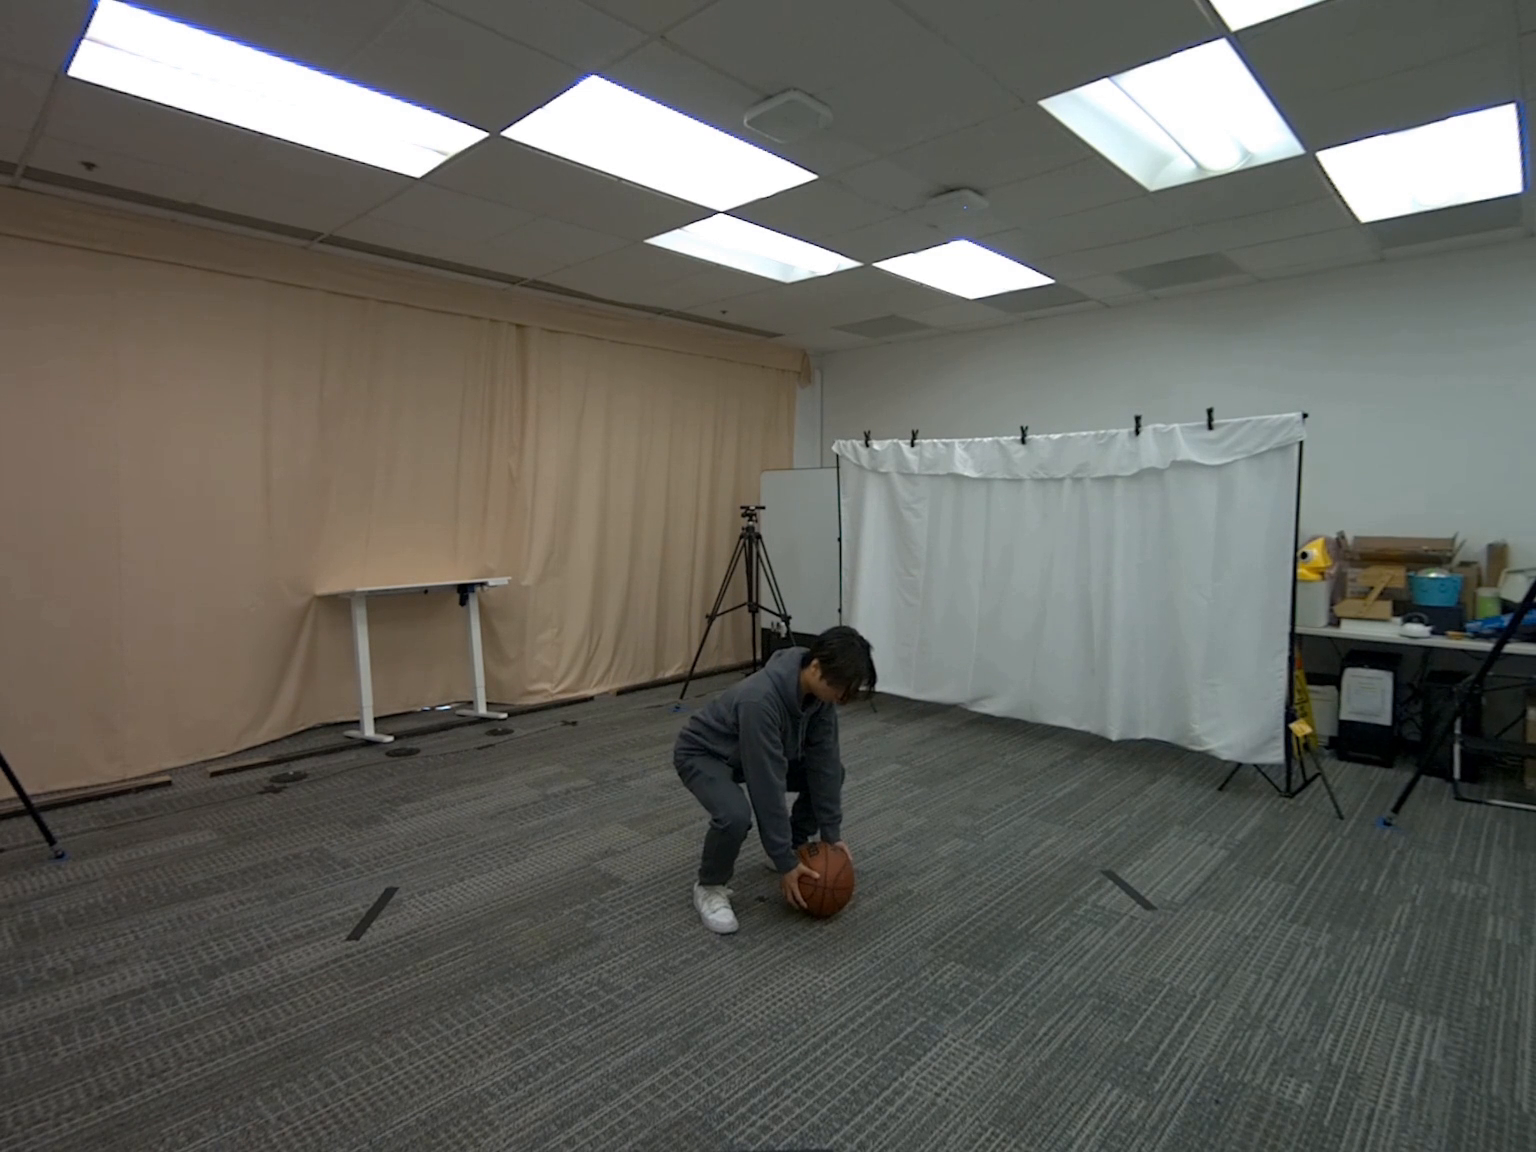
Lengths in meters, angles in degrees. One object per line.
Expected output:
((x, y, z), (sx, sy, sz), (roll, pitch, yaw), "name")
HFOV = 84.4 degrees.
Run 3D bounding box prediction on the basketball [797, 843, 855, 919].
((0.183, 1.016, 2.864), (0.236, 0.235, 0.237), (0, 4, -2), "basketball")
